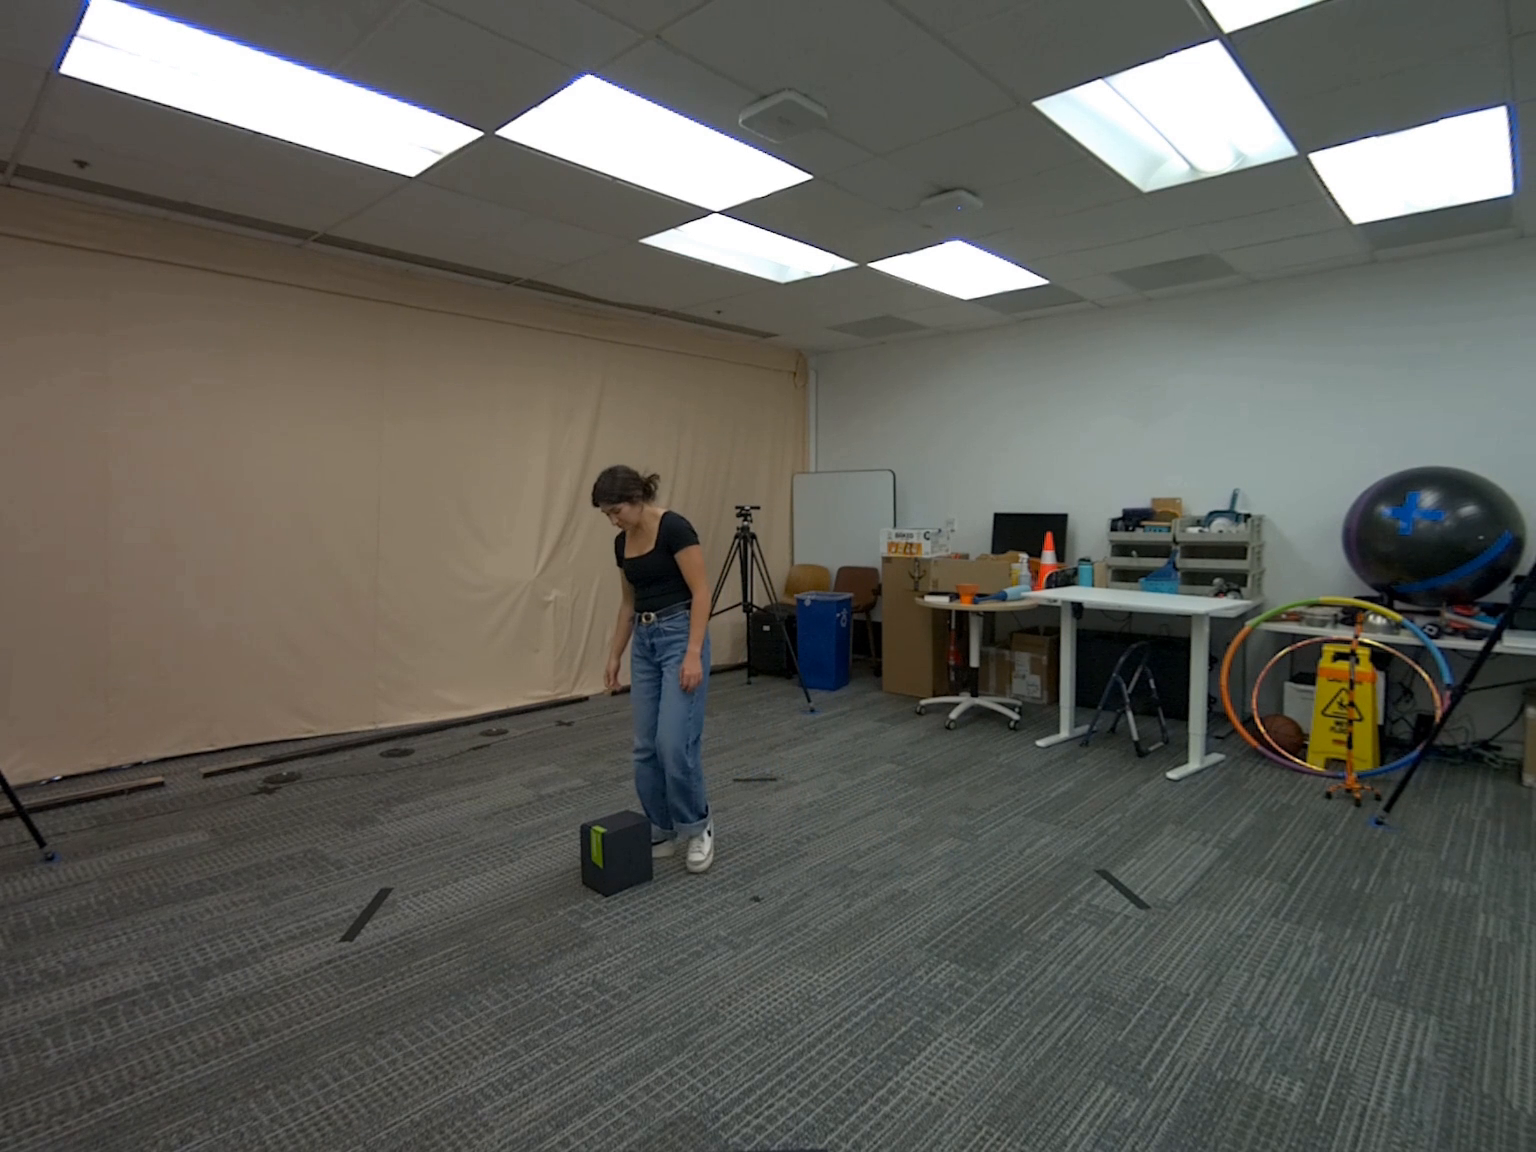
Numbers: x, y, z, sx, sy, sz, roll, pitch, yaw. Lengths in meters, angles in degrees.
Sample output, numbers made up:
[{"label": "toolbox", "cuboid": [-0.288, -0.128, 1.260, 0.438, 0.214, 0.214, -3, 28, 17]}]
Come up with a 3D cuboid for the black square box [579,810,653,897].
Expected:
[{"label": "black square box", "cuboid": [-0.562, 1.019, 3.118, 0.210, 0.227, 0.161, -5, 4, -43]}]
